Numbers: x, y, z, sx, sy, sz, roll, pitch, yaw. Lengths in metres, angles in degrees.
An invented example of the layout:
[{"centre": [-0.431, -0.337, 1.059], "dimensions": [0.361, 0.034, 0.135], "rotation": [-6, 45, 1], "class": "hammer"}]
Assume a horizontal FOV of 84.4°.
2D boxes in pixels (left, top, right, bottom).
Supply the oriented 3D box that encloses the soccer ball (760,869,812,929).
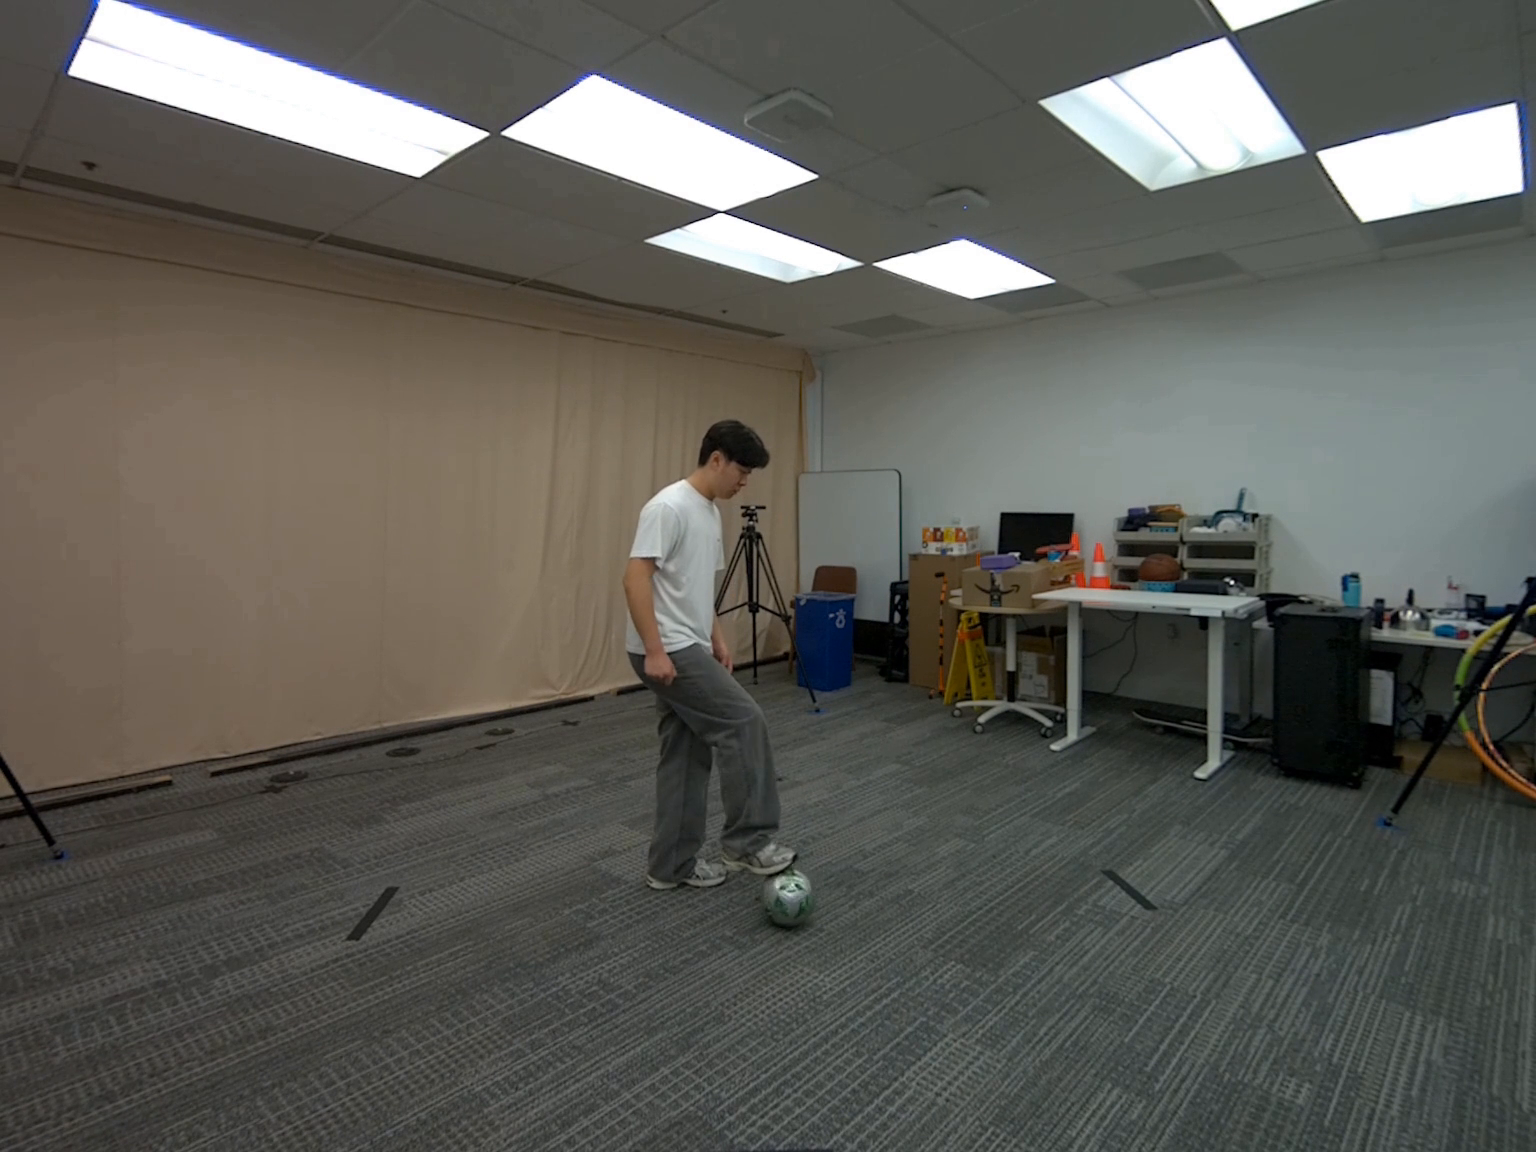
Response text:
[{"centre": [0.045, 1.063, 2.806], "dimensions": [0.187, 0.187, 0.188], "rotation": [0, 4, -2], "class": "soccer ball"}]
